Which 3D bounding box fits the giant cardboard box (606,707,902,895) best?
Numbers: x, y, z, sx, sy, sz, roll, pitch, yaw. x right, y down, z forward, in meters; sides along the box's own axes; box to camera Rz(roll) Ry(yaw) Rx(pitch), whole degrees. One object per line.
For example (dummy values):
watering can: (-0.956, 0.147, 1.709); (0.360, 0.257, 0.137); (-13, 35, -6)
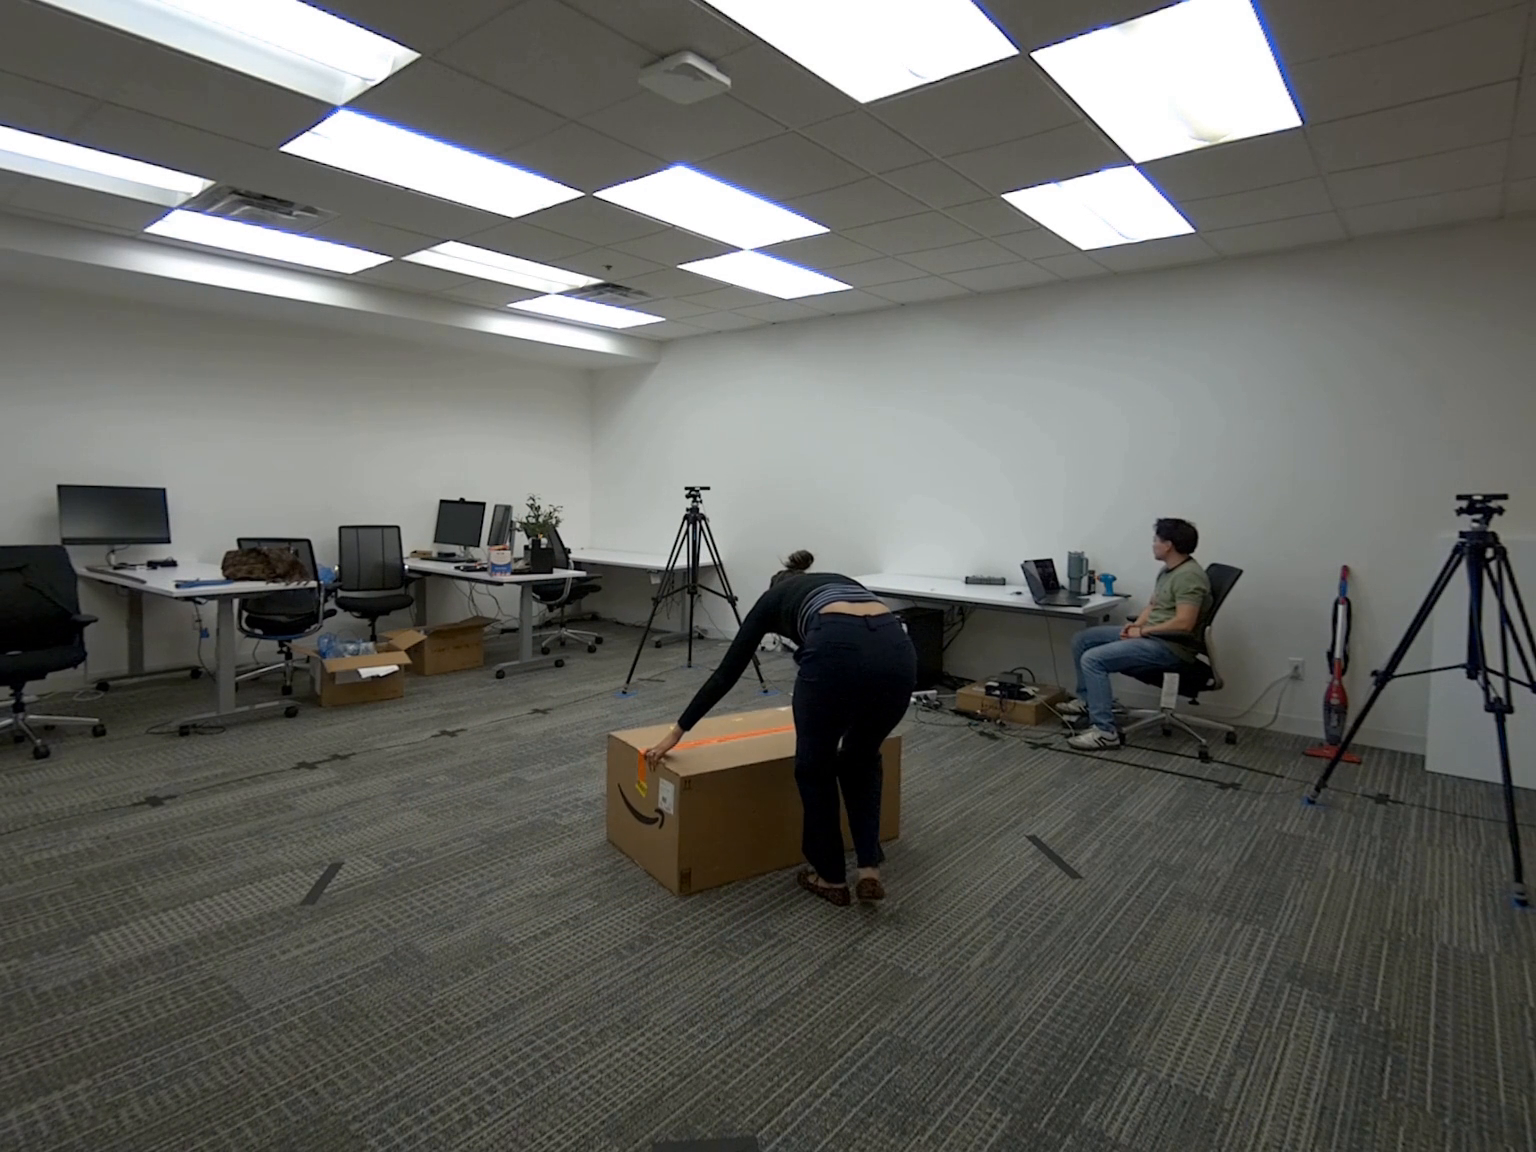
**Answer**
giant cardboard box: (-0.062, 0.826, 3.370); (0.997, 0.425, 0.596); (-3, 6, -34)
